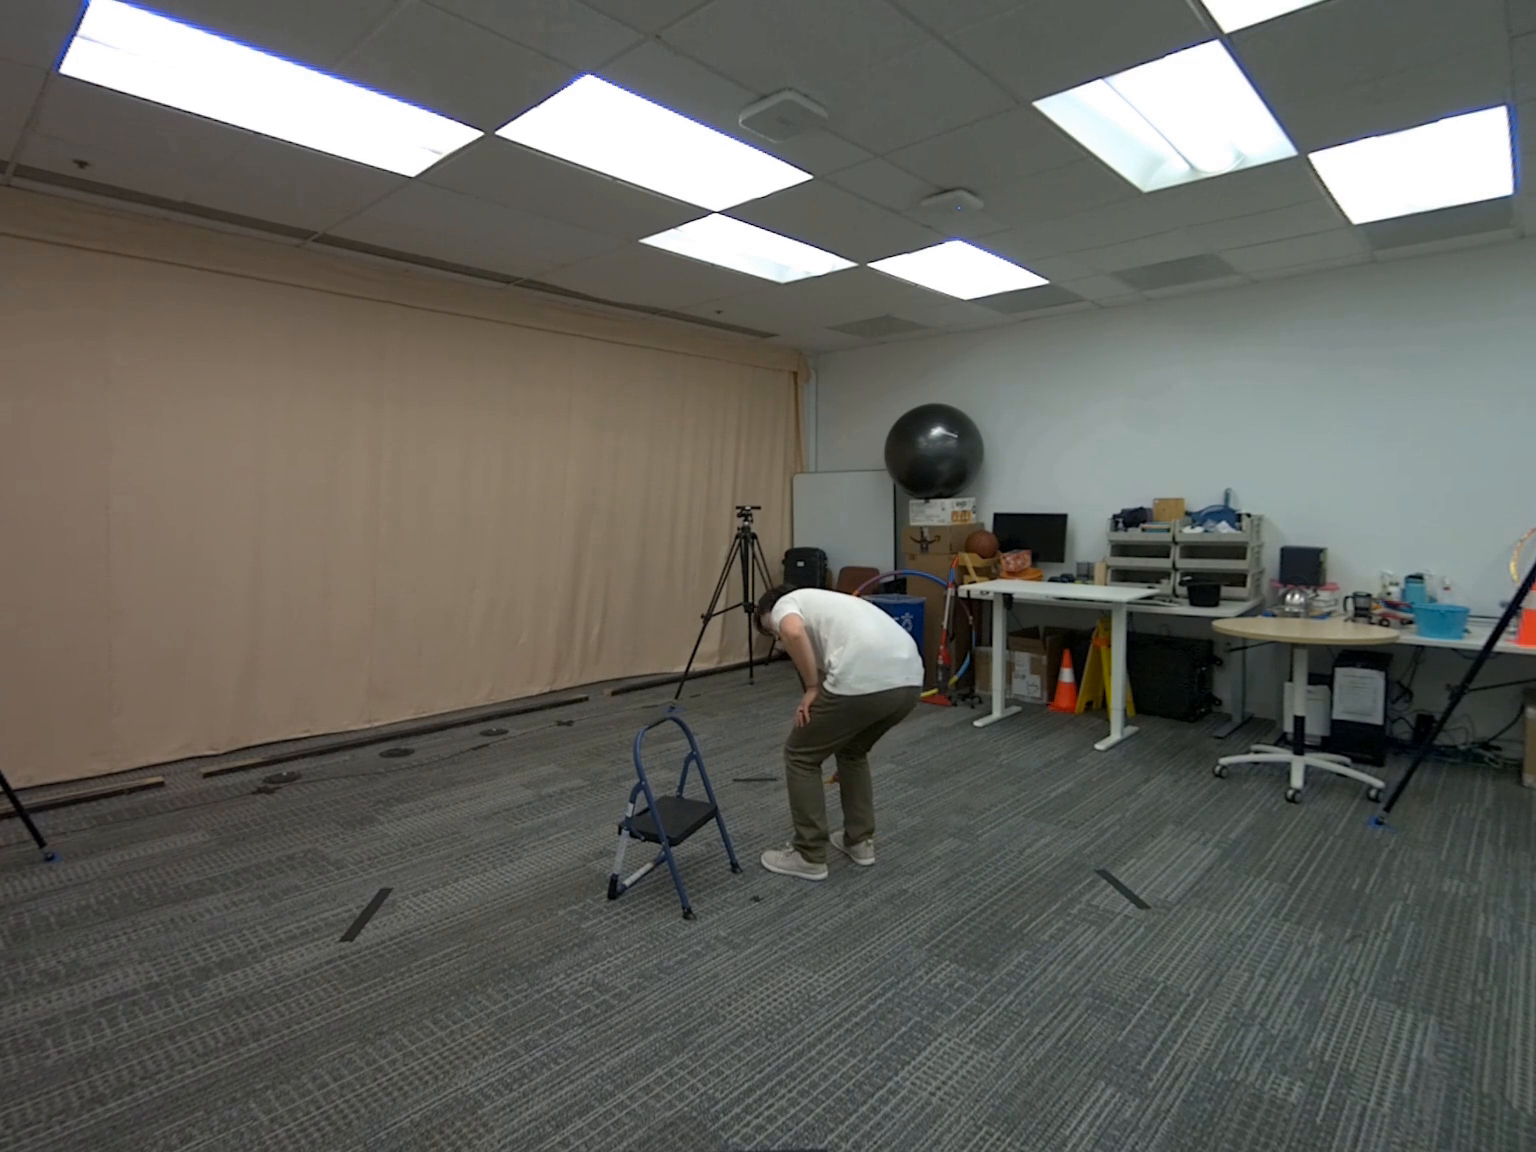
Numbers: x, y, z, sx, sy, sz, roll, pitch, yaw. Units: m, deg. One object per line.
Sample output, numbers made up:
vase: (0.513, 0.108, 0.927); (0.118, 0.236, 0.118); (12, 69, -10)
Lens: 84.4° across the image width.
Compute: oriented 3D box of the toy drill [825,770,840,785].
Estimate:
toy drill: (0.316, 0.893, 3.651); (0.172, 0.060, 0.146); (-15, 14, 13)
